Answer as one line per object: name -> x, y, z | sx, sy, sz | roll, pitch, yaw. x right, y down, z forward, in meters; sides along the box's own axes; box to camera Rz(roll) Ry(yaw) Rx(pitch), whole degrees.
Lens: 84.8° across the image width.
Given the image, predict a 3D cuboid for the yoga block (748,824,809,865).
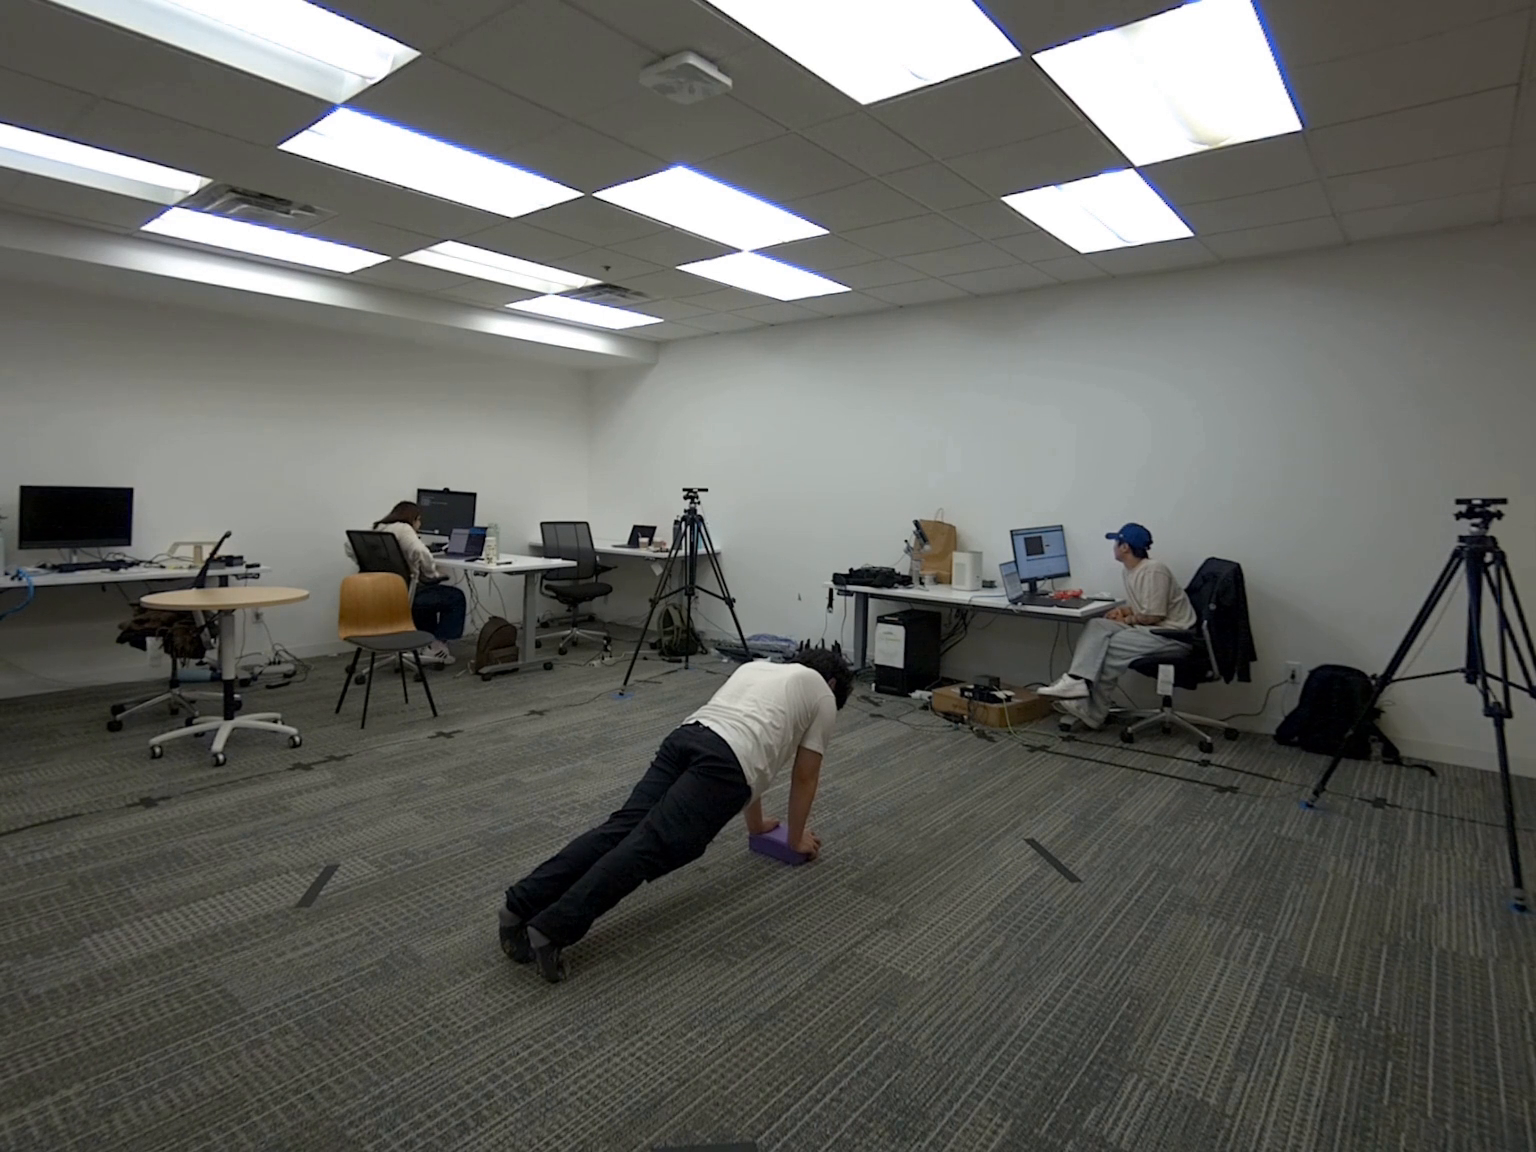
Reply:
yoga block -> 0.048, 1.024, 3.276 | 0.237, 0.076, 0.145 | 4, 7, 37
